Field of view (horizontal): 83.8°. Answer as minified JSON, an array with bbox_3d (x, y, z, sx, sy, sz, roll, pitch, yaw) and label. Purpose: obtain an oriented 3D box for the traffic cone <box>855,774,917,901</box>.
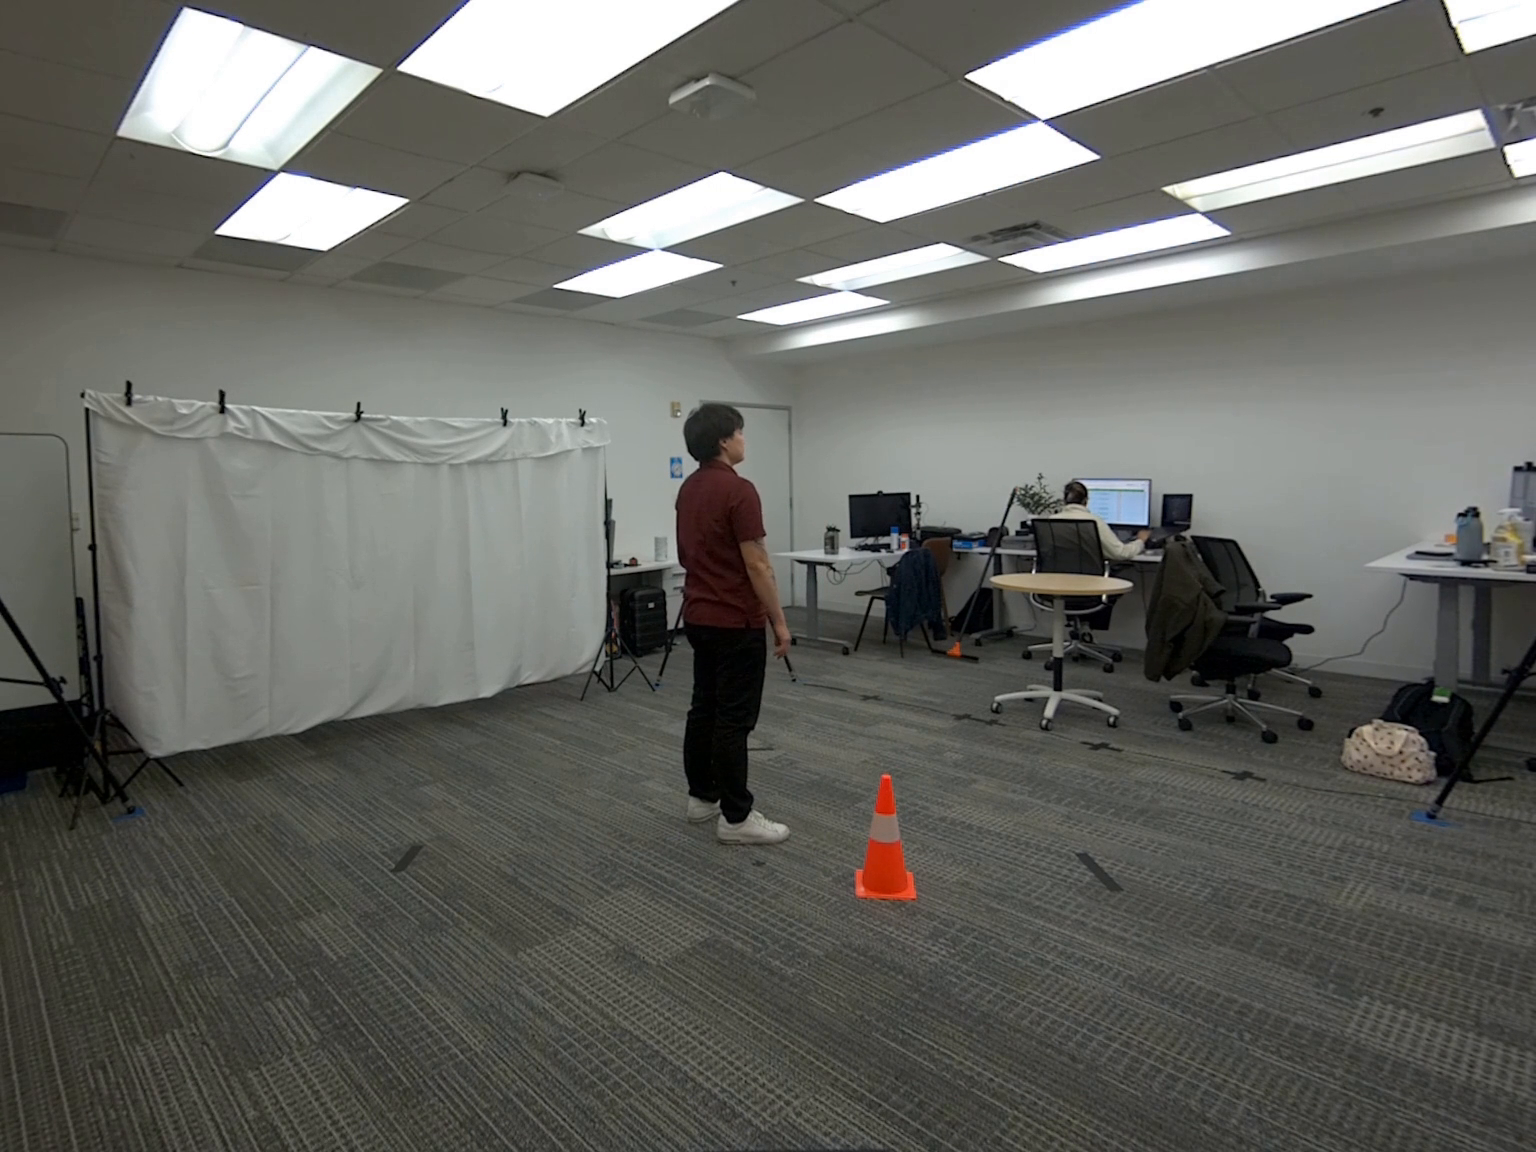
[{"bbox_3d":[0.411,0.876,2.921,0.207,0.382,0.202,0,5,9],"label":"traffic cone"}]
